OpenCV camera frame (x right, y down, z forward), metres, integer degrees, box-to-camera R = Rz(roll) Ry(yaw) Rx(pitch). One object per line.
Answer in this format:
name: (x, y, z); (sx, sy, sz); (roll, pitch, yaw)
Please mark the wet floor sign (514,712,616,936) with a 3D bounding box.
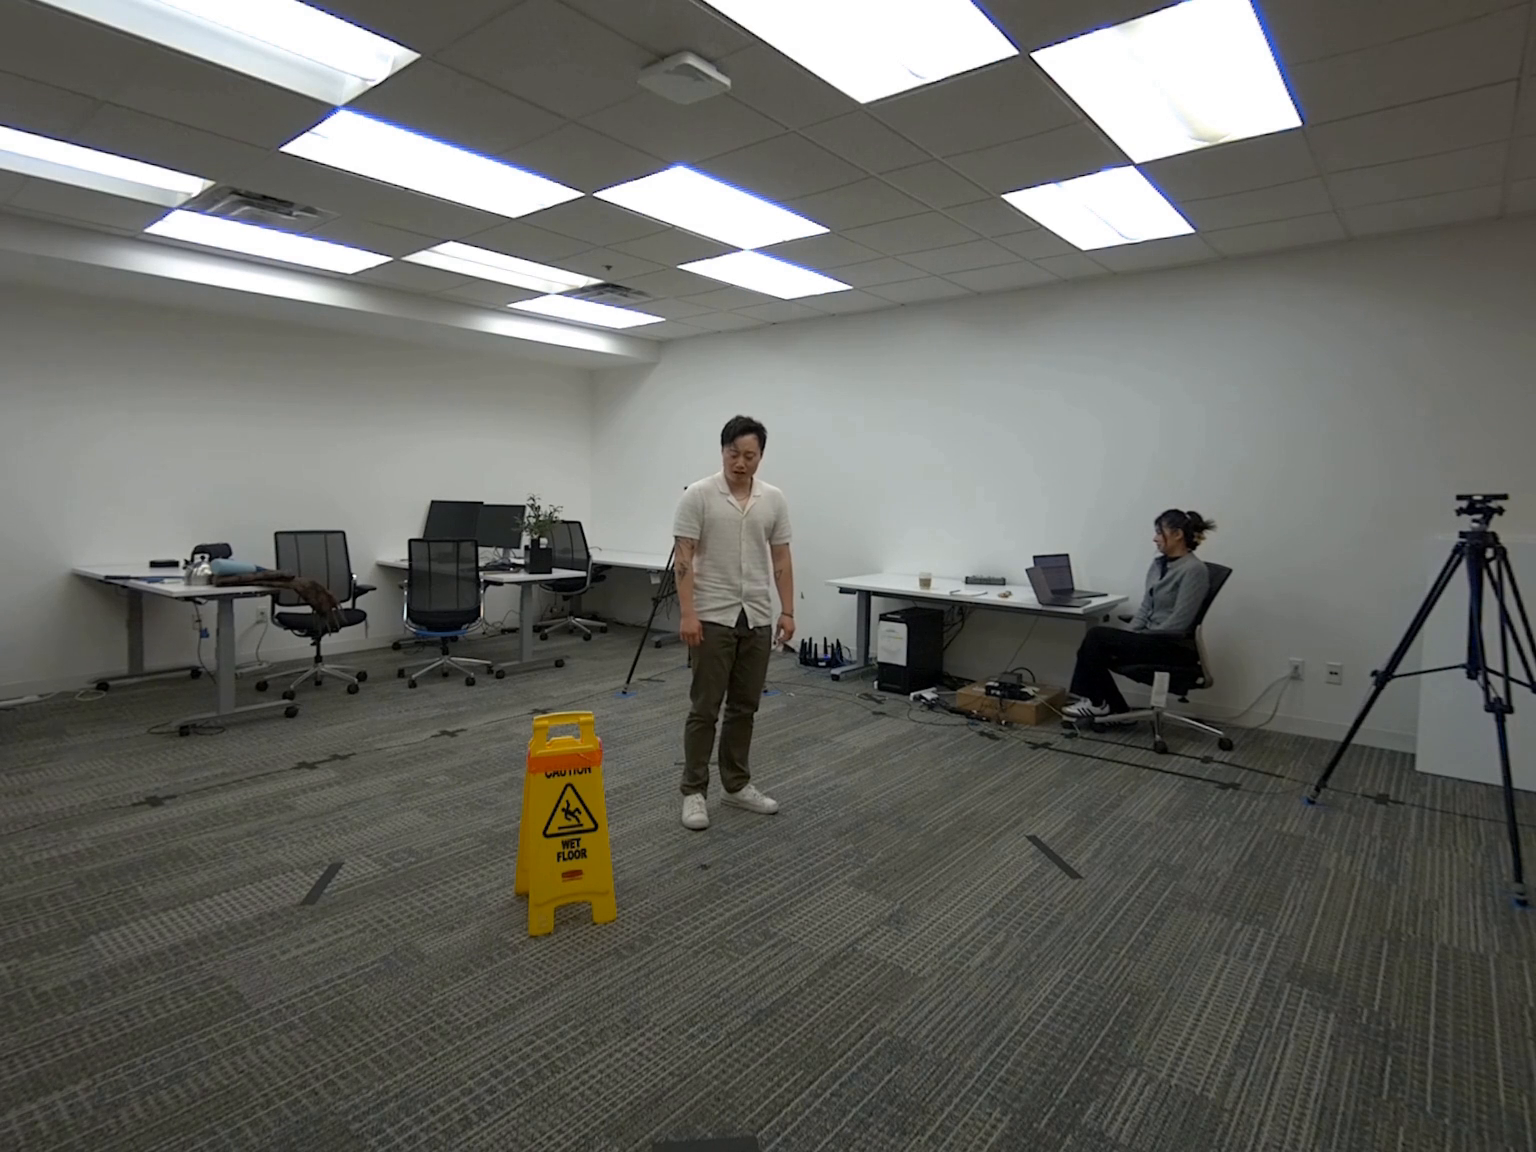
wet floor sign: (-0.676, 0.767, 2.785); (0.276, 0.644, 0.297); (-2, 4, -24)
